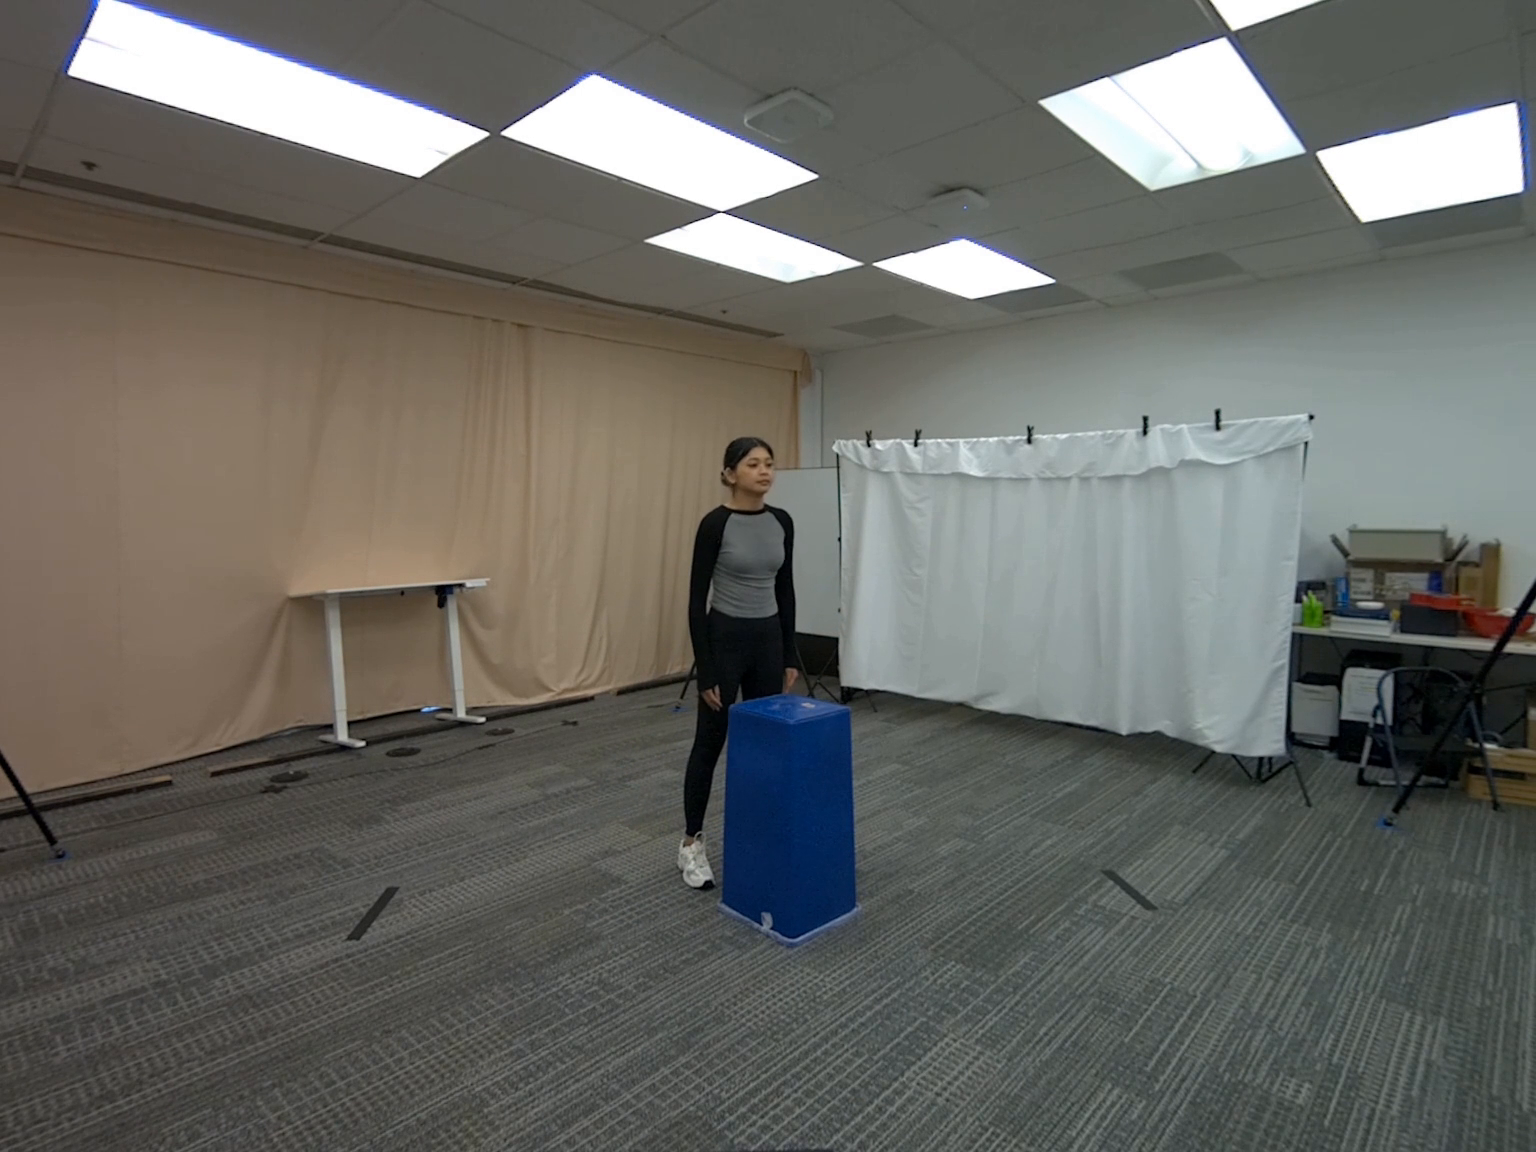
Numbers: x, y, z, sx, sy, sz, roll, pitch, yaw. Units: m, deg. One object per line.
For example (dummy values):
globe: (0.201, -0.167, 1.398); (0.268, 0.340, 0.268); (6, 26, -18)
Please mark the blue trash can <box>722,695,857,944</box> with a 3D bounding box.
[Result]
blue trash can: (0.085, 0.800, 2.880); (0.362, 0.712, 0.391); (-2, 5, -43)
